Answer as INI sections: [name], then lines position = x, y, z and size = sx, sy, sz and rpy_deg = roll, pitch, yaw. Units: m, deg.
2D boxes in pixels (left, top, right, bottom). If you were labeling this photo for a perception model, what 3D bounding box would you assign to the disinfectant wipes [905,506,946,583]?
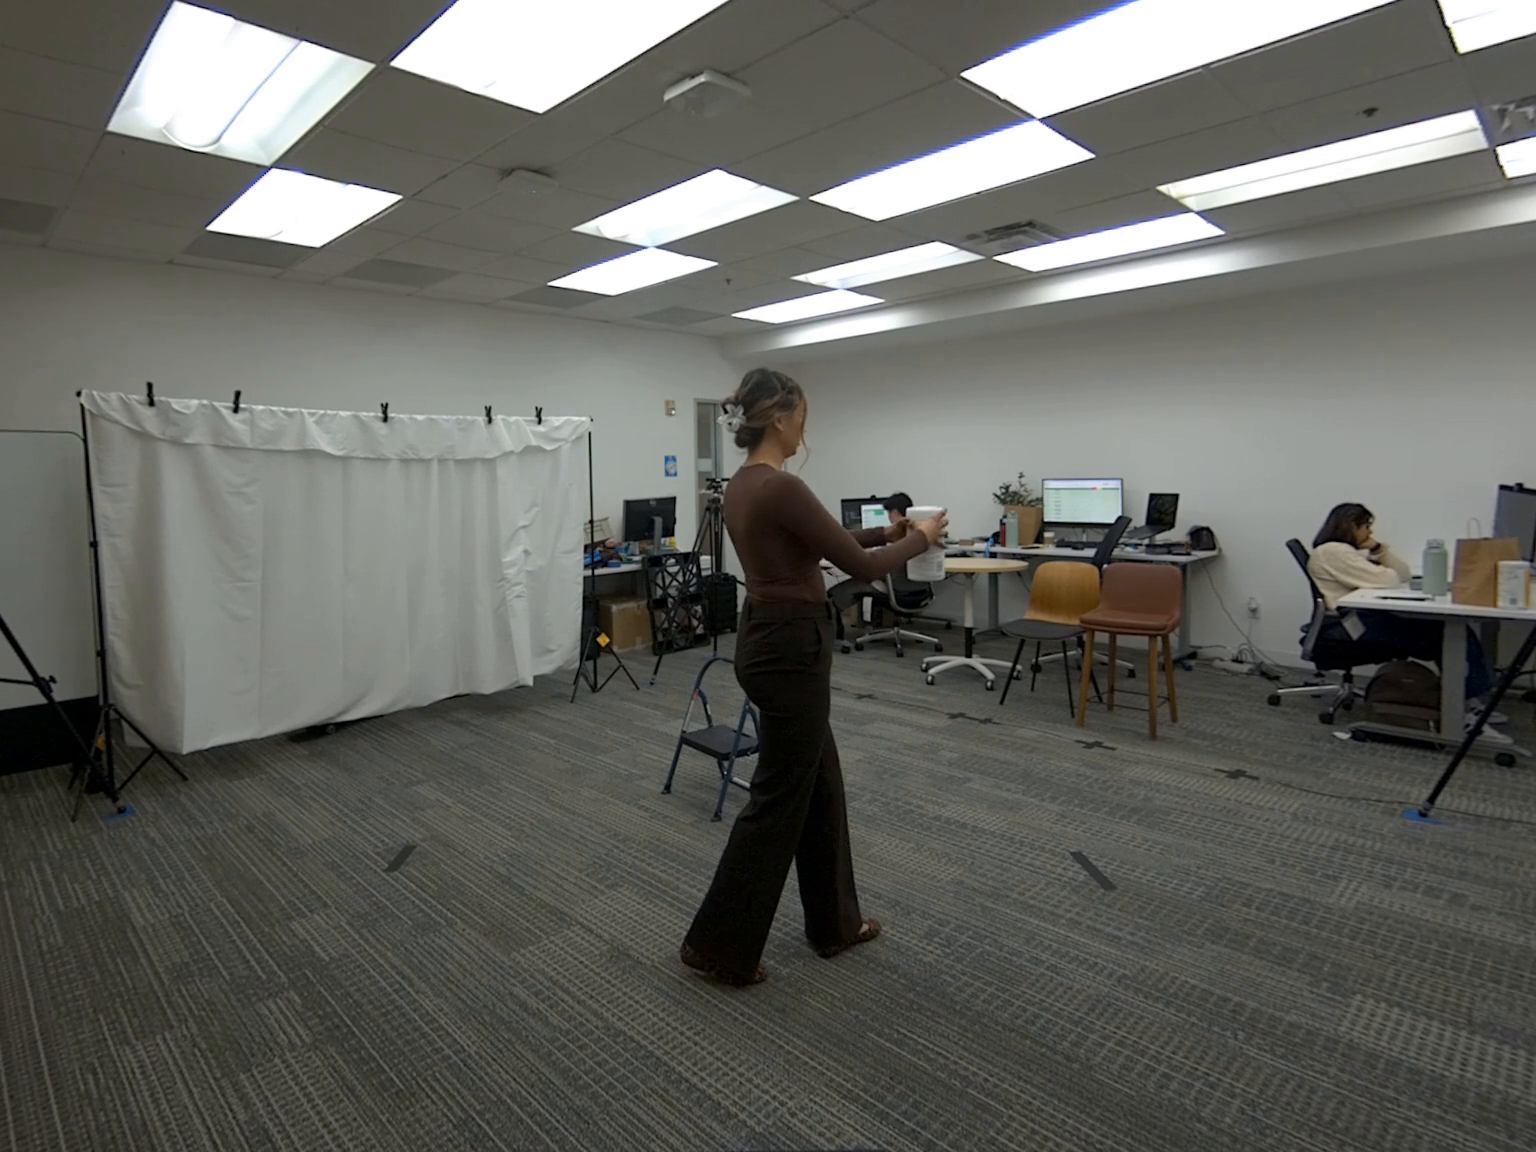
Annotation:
[disinfectant wipes]
position = 0.469, -0.097, 2.537
size = 0.118, 0.216, 0.118
rpy_deg = -4, 7, -1
